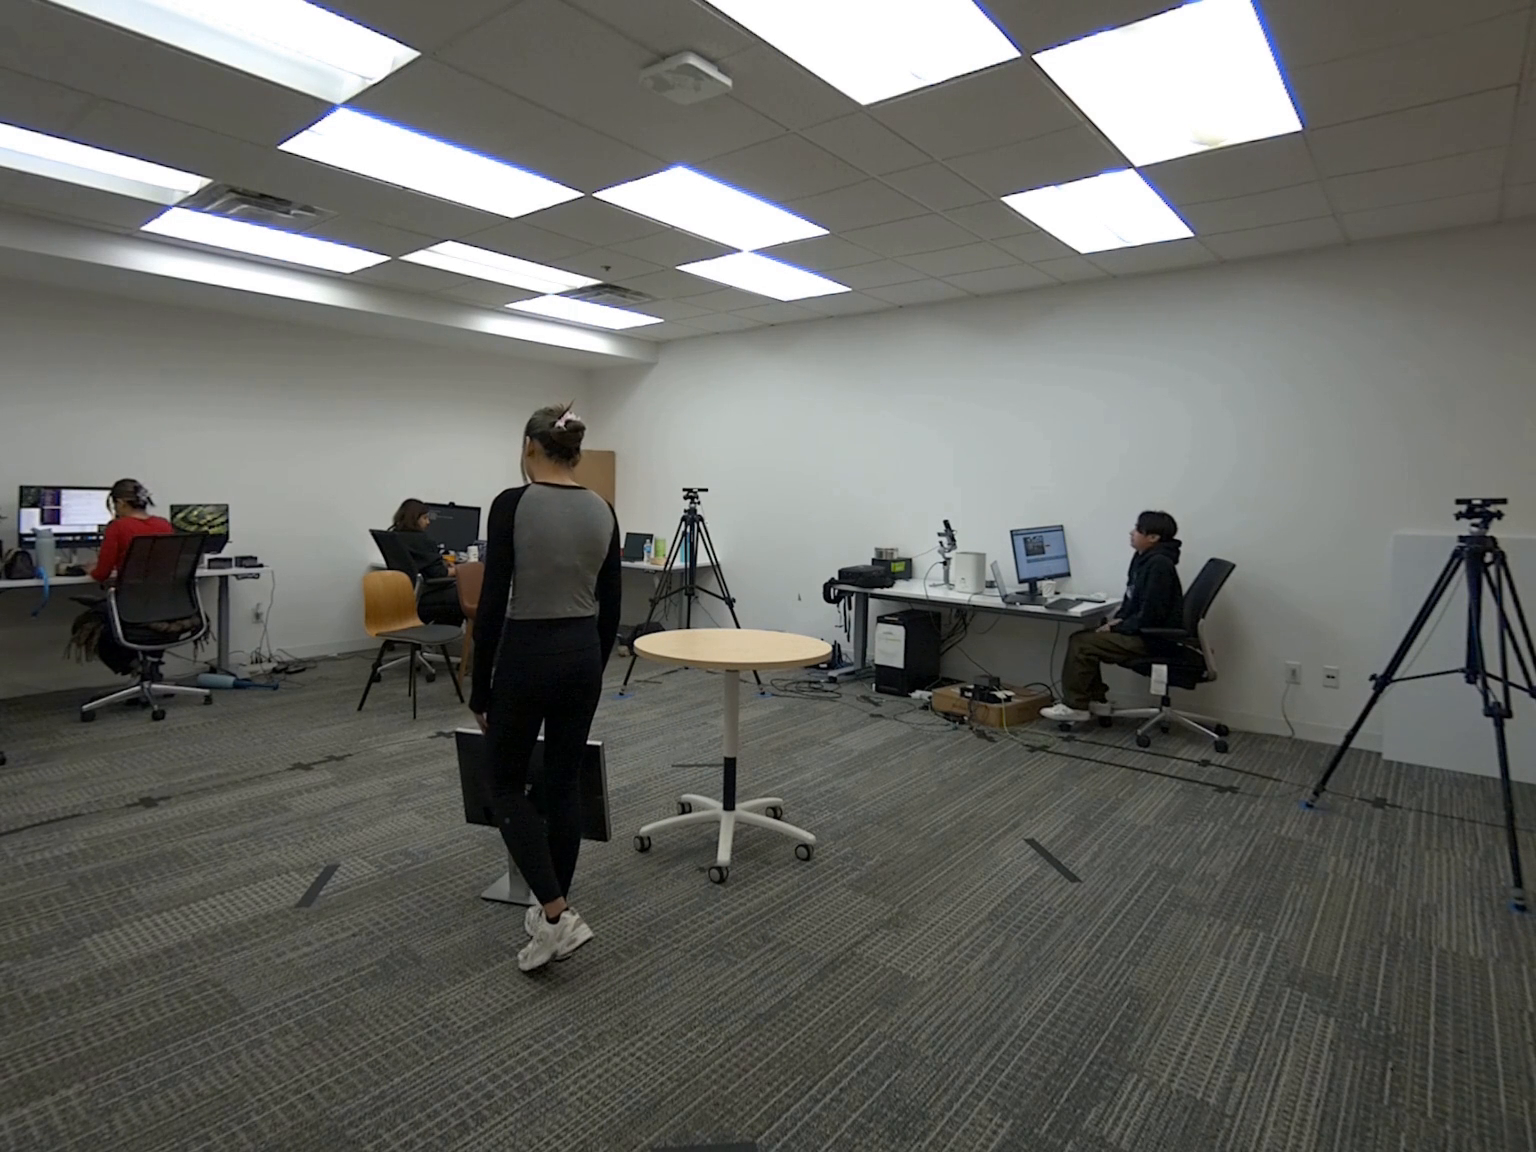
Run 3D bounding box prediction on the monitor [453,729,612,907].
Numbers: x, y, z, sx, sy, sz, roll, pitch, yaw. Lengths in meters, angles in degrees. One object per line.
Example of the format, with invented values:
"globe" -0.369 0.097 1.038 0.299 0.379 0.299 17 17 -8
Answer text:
"monitor" -0.836 0.815 2.899 0.548 0.522 0.184 1 2 15
